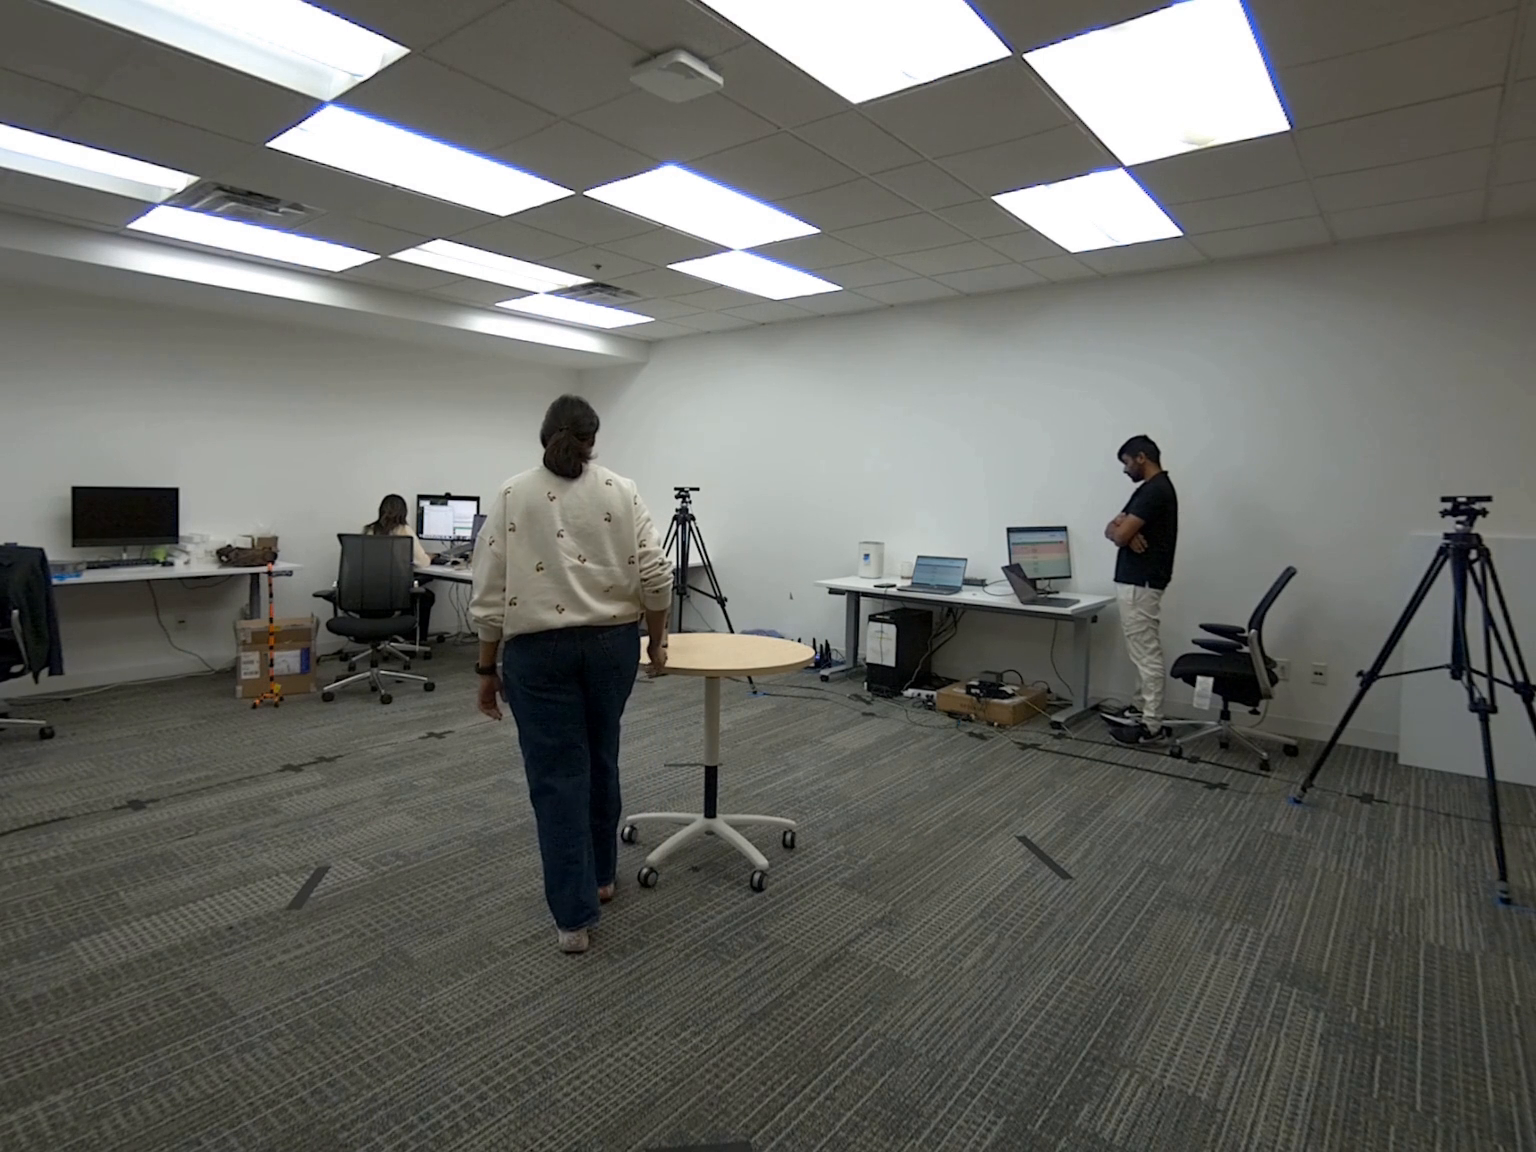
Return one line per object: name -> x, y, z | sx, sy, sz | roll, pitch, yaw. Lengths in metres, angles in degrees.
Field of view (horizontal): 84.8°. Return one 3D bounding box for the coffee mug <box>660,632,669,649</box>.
coffee mug -> -0.436, 0.171, 3.217 | 0.118, 0.202, 0.091 | 2, 6, -43
